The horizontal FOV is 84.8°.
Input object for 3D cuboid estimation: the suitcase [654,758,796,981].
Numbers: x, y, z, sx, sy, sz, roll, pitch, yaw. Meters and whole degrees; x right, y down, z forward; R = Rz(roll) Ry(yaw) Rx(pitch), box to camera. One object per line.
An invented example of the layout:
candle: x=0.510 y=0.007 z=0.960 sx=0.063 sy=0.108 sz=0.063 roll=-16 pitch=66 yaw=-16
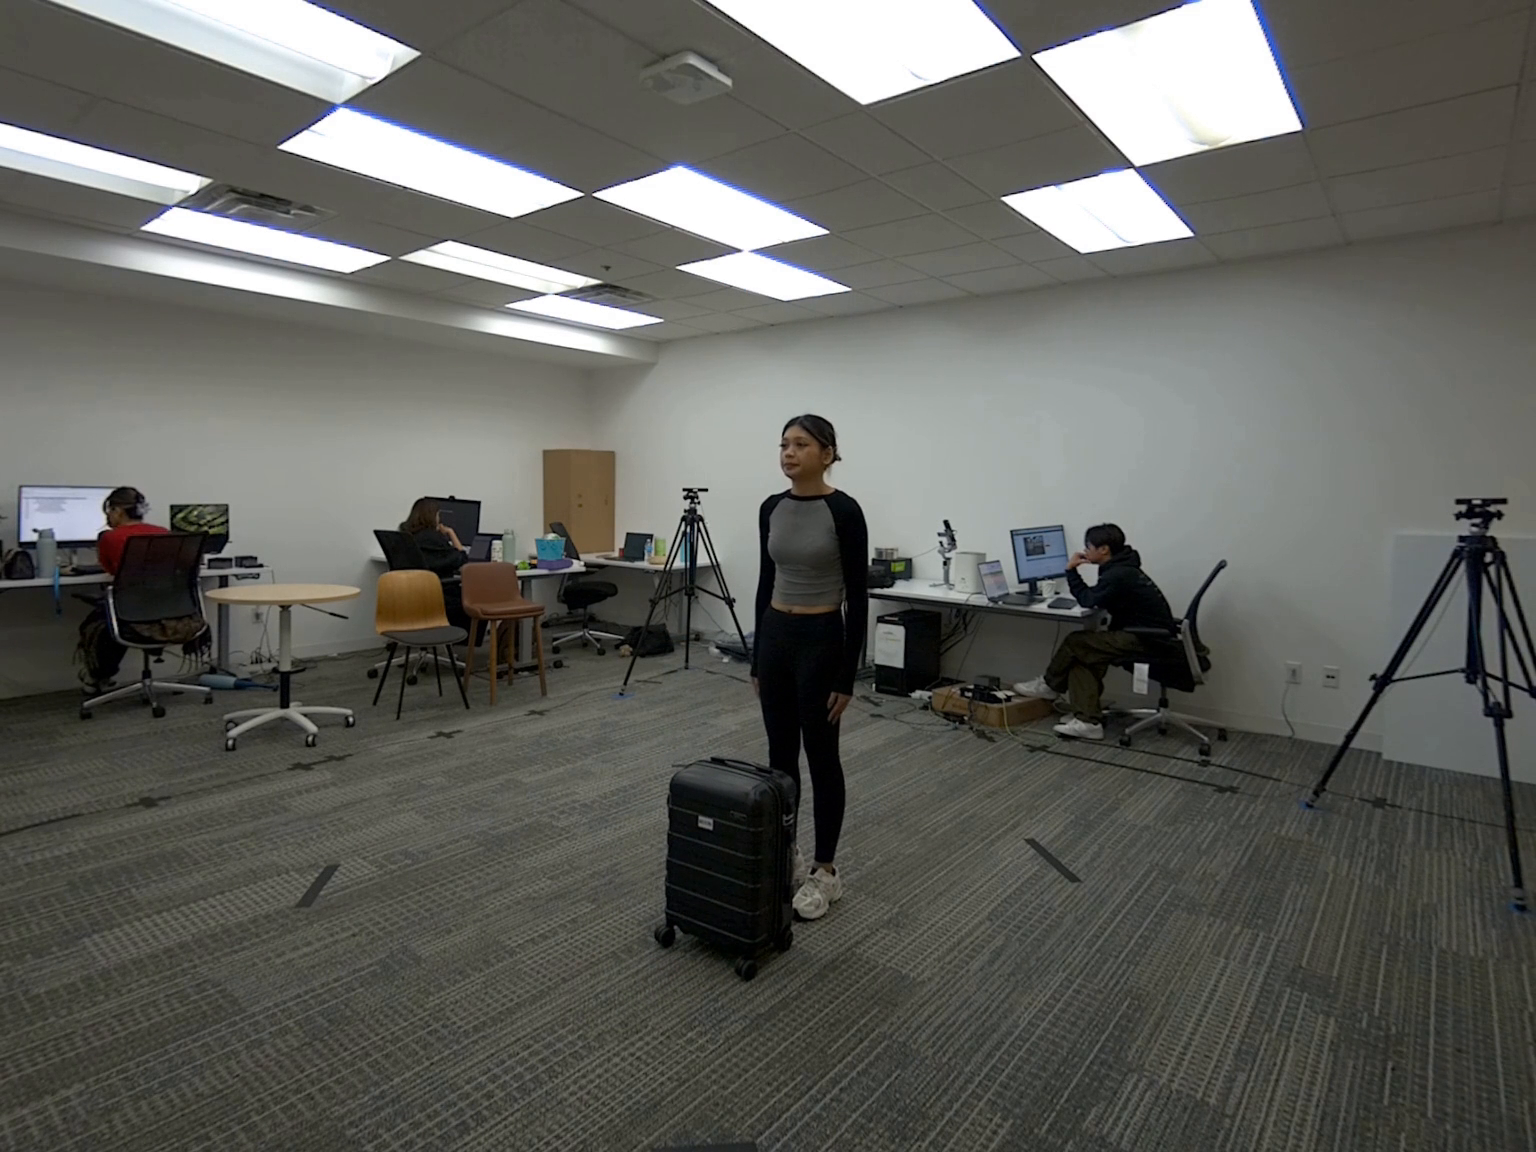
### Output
suitcase: x=-0.123 y=0.846 z=2.585 sx=0.387 sy=0.548 sz=0.241 roll=4 pitch=3 yaw=34
